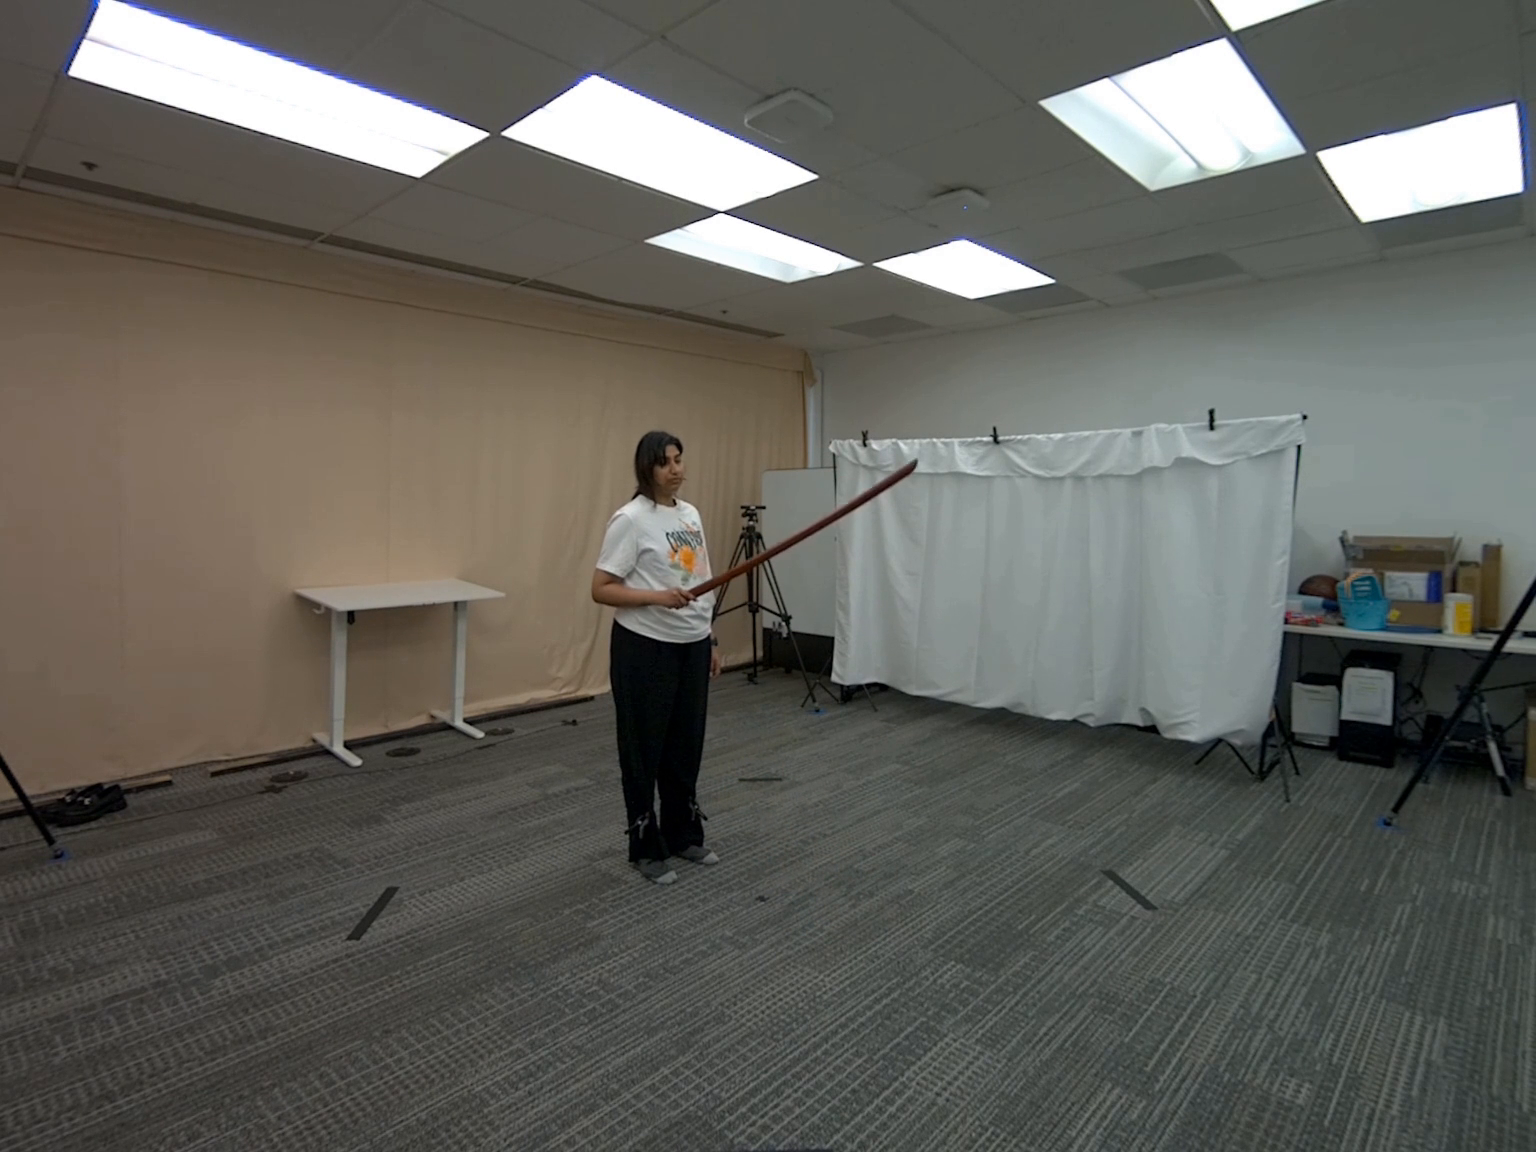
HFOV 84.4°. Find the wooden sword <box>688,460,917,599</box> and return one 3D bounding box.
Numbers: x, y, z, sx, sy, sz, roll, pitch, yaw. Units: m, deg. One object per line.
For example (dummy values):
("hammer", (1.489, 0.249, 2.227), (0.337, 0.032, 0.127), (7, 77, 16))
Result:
("wooden sword", (0.077, -0.114, 2.794), (1.038, 0.024, 0.050), (-30, -3, 24))
